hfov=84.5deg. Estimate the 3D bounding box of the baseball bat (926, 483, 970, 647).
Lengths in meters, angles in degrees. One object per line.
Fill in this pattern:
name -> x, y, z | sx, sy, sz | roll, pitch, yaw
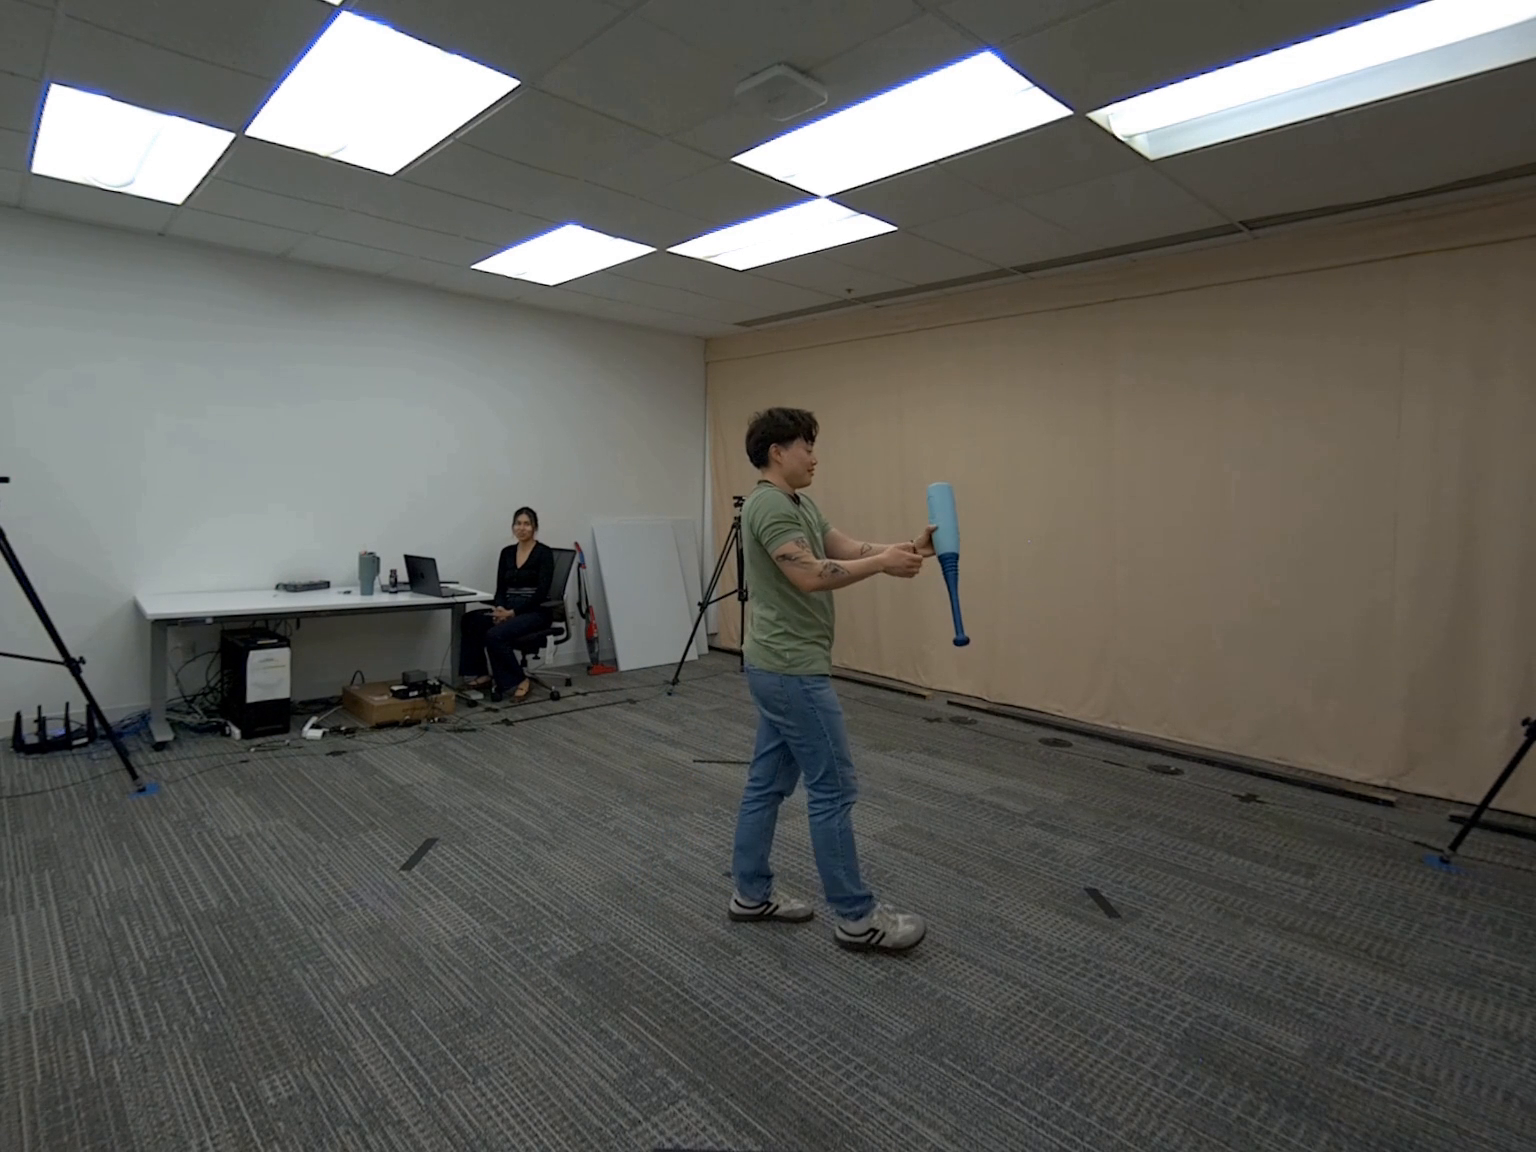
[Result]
baseball bat -> 0.563, -0.041, 2.651 | 0.089, 0.552, 0.087 | 1, -24, -1
